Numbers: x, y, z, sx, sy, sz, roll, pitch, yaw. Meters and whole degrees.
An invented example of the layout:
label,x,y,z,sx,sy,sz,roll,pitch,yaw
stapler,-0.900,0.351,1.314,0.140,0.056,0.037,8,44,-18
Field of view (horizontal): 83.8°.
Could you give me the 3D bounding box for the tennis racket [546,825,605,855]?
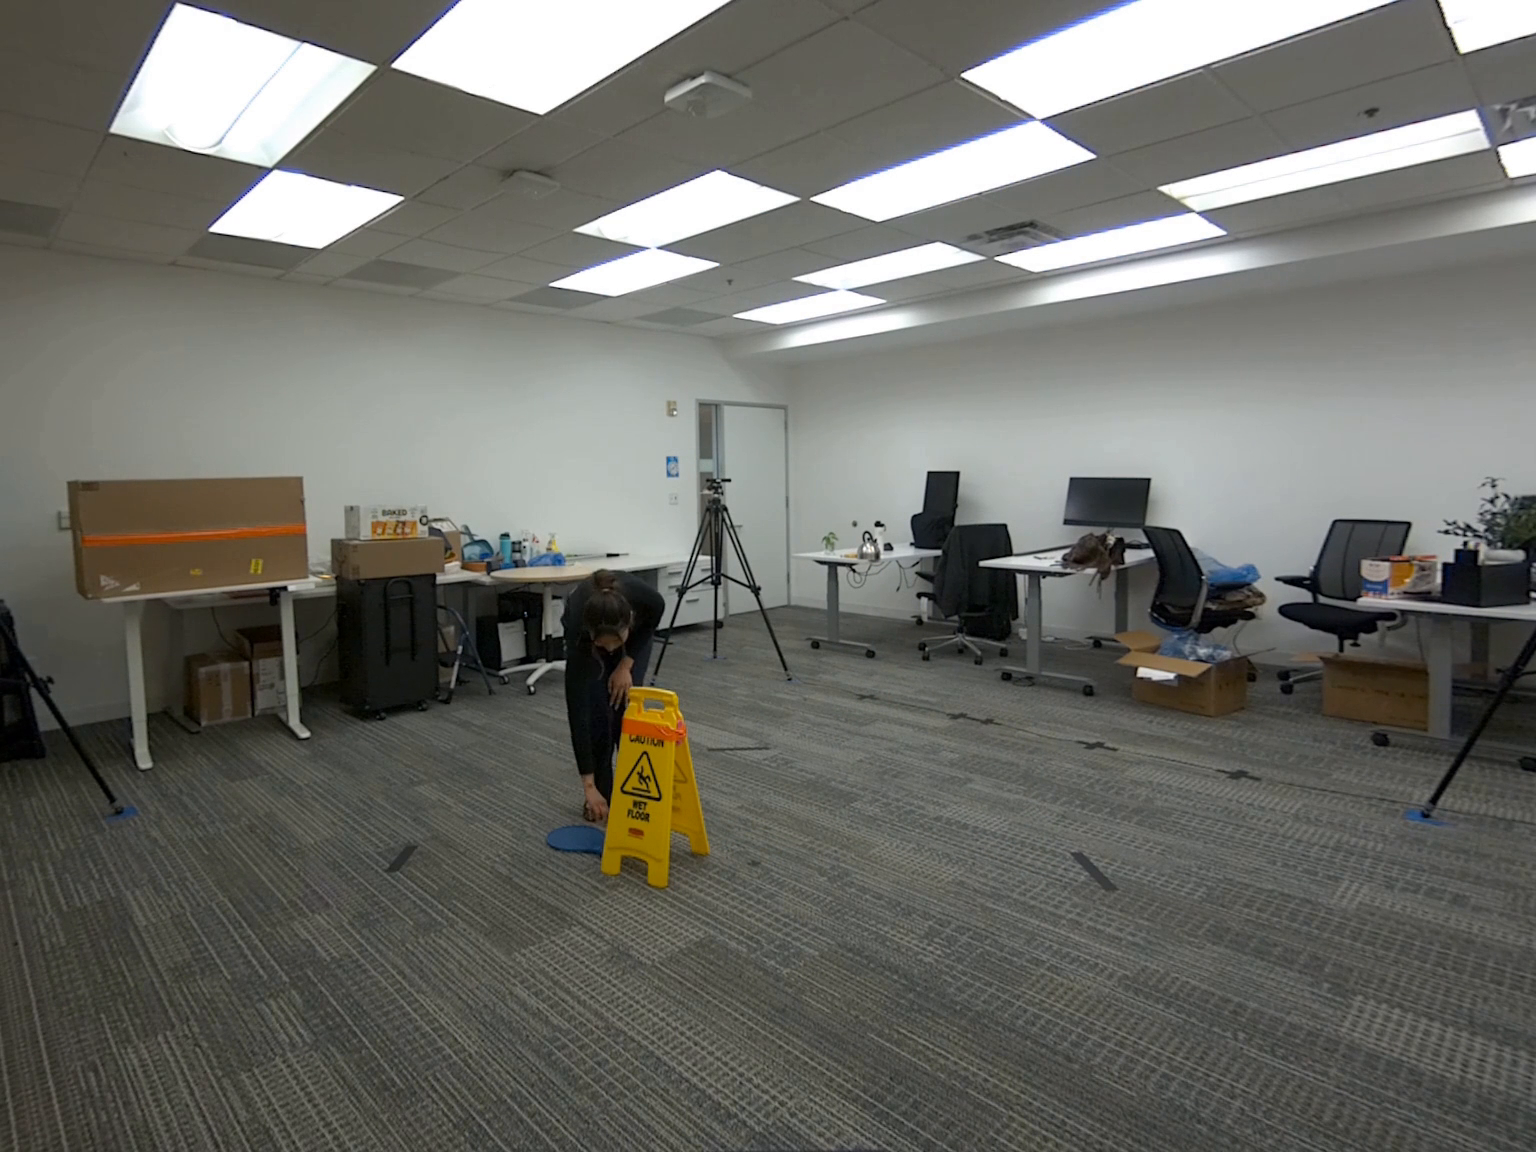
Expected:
label,x,y,z,sx,sy,sz,roll,pitch,yaw
tennis racket,-0.688,1.028,3.270,0.208,0.031,0.446,-7,7,-42
